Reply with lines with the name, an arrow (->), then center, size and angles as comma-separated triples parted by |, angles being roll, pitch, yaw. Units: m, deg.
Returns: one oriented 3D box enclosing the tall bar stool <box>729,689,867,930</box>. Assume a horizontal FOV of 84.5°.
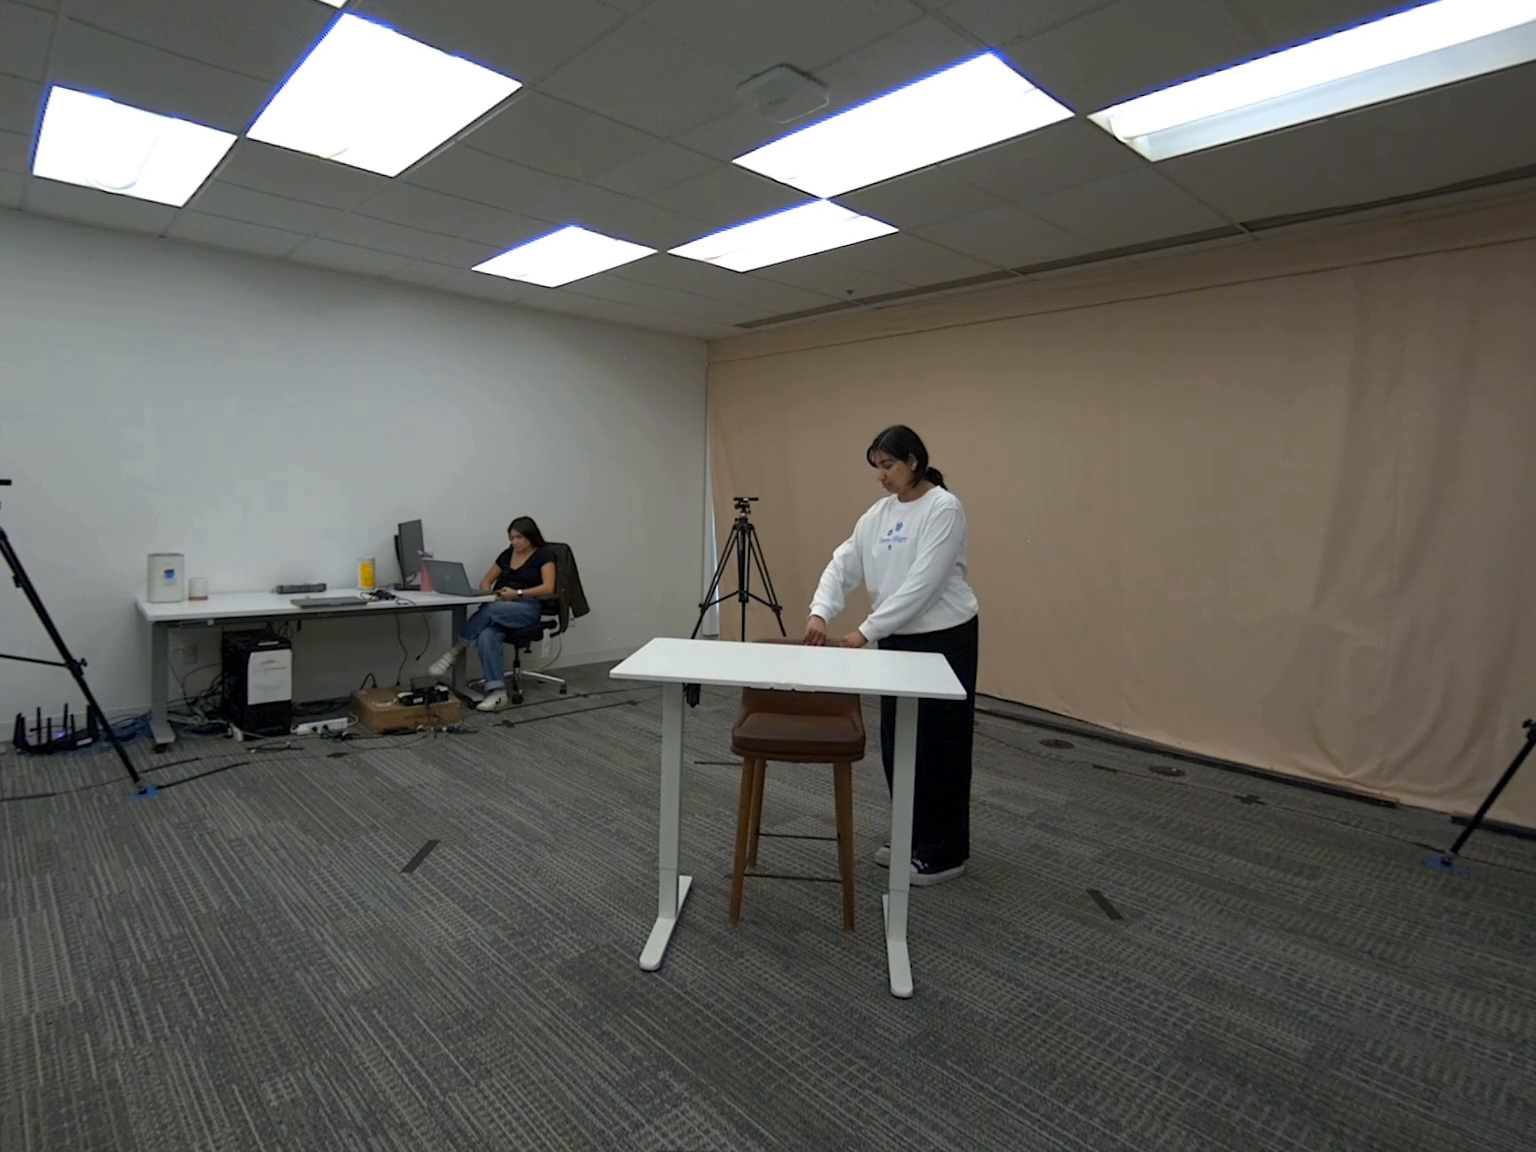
tall bar stool -> 0.106, 0.694, 2.949 | 0.459, 0.889, 0.465 | 2, 2, 6
